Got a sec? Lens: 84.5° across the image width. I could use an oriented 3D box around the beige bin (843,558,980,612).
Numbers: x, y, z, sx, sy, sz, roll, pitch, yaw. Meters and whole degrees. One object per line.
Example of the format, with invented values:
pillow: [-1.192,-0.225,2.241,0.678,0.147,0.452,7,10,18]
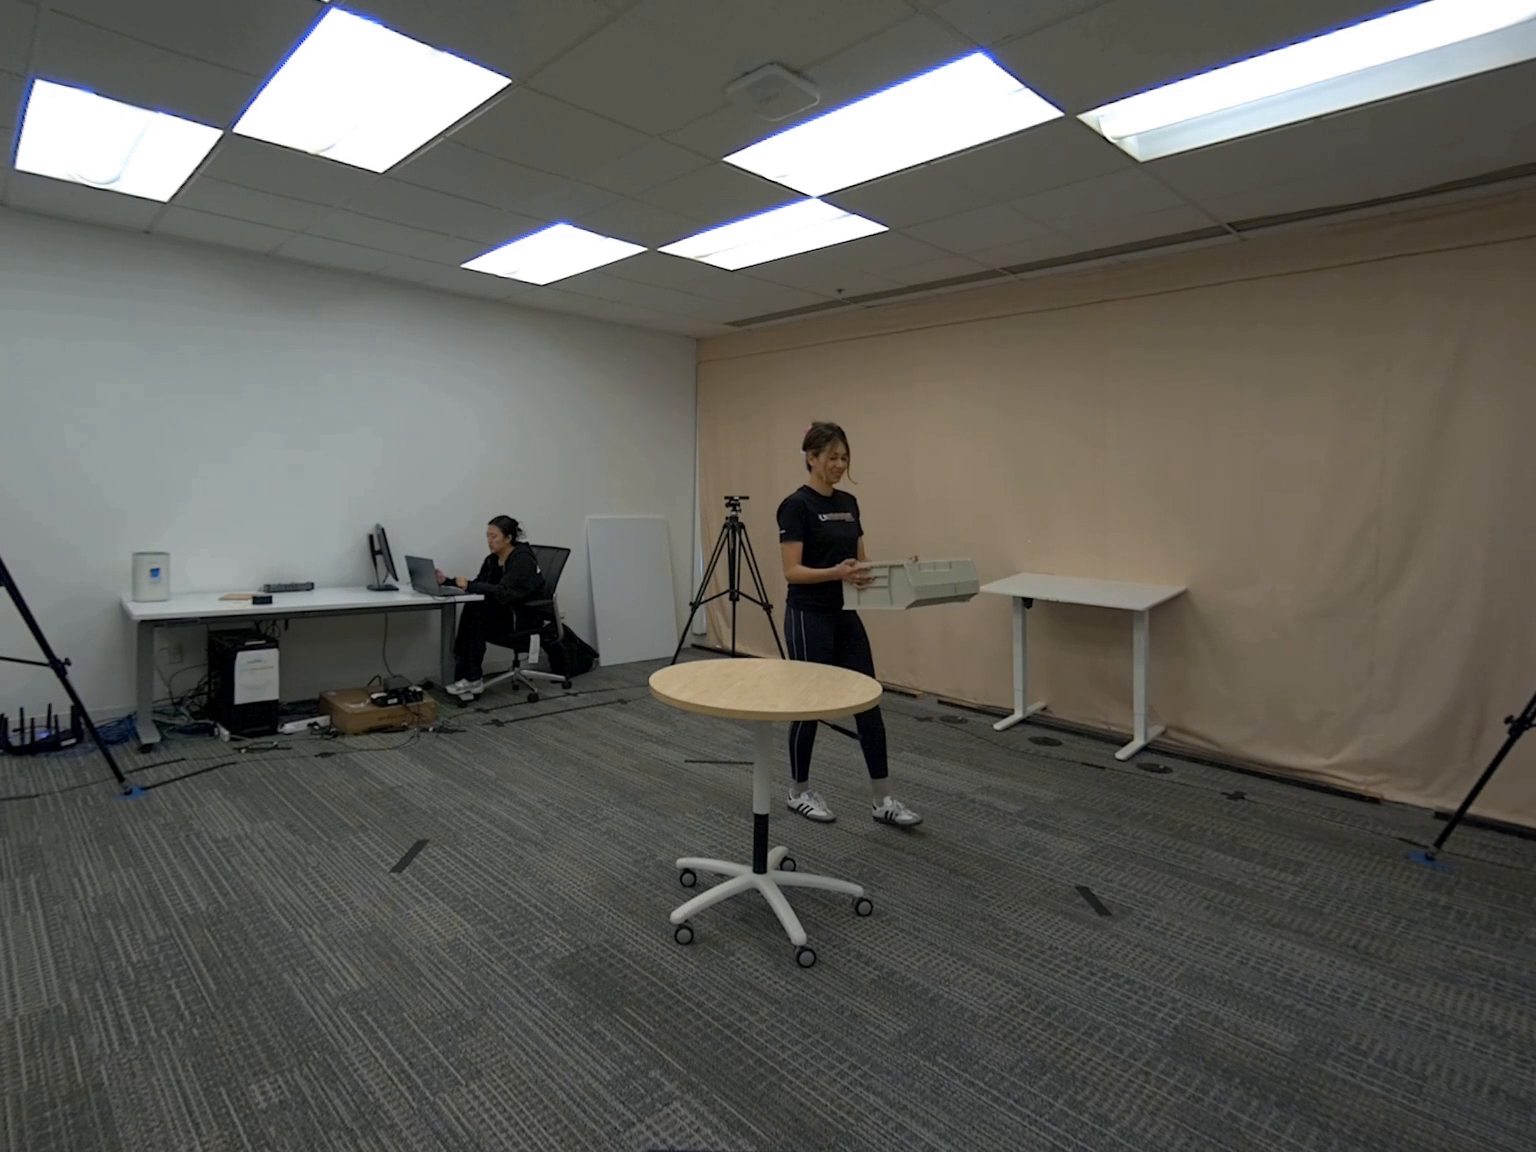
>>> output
beige bin: [0.557,0.032,3.326,0.413,0.189,0.385,-4,-1,-41]
